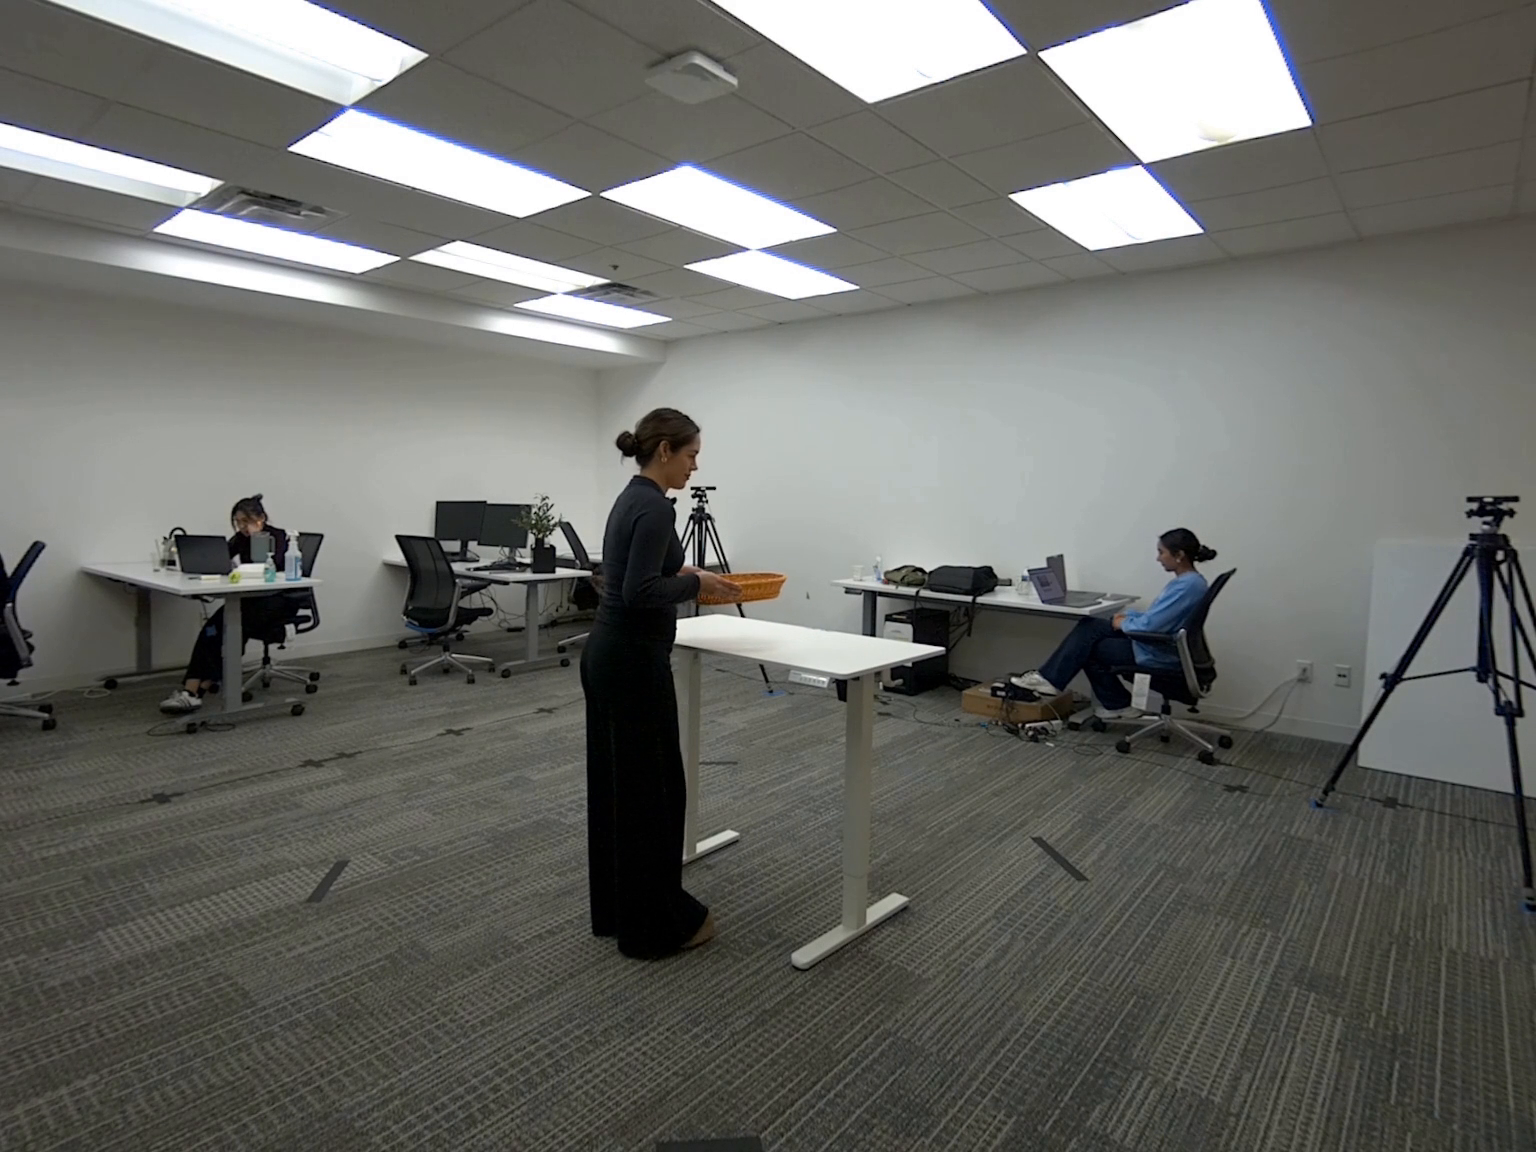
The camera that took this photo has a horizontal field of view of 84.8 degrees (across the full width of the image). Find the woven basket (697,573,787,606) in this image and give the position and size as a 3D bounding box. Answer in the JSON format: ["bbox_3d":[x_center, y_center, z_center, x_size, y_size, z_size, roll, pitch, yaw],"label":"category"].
[{"bbox_3d":[-0.132,0.046,2.670,0.341,0.073,0.260,-4,6,-31],"label":"woven basket"}]
